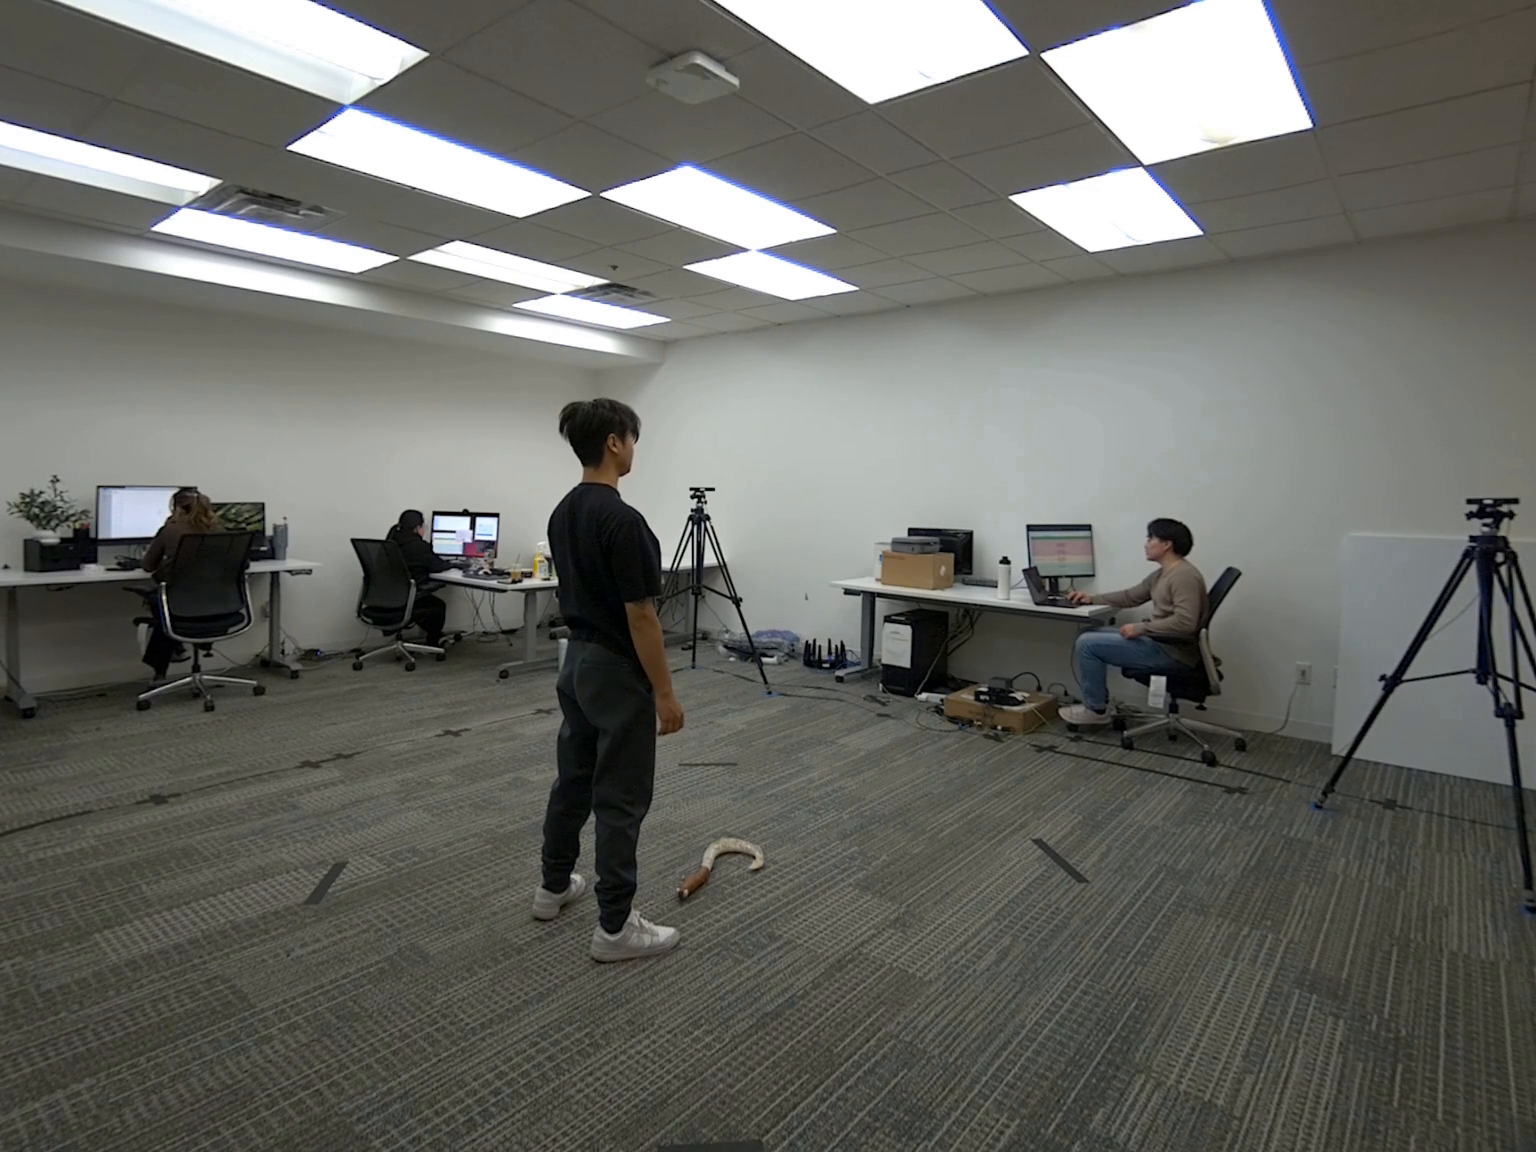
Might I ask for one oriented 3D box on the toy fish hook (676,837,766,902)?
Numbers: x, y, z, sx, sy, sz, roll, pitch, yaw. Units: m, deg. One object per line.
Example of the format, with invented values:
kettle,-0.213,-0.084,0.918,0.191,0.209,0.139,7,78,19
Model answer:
toy fish hook,-0.170,1.049,3.057,0.229,0.048,0.497,2,6,20
